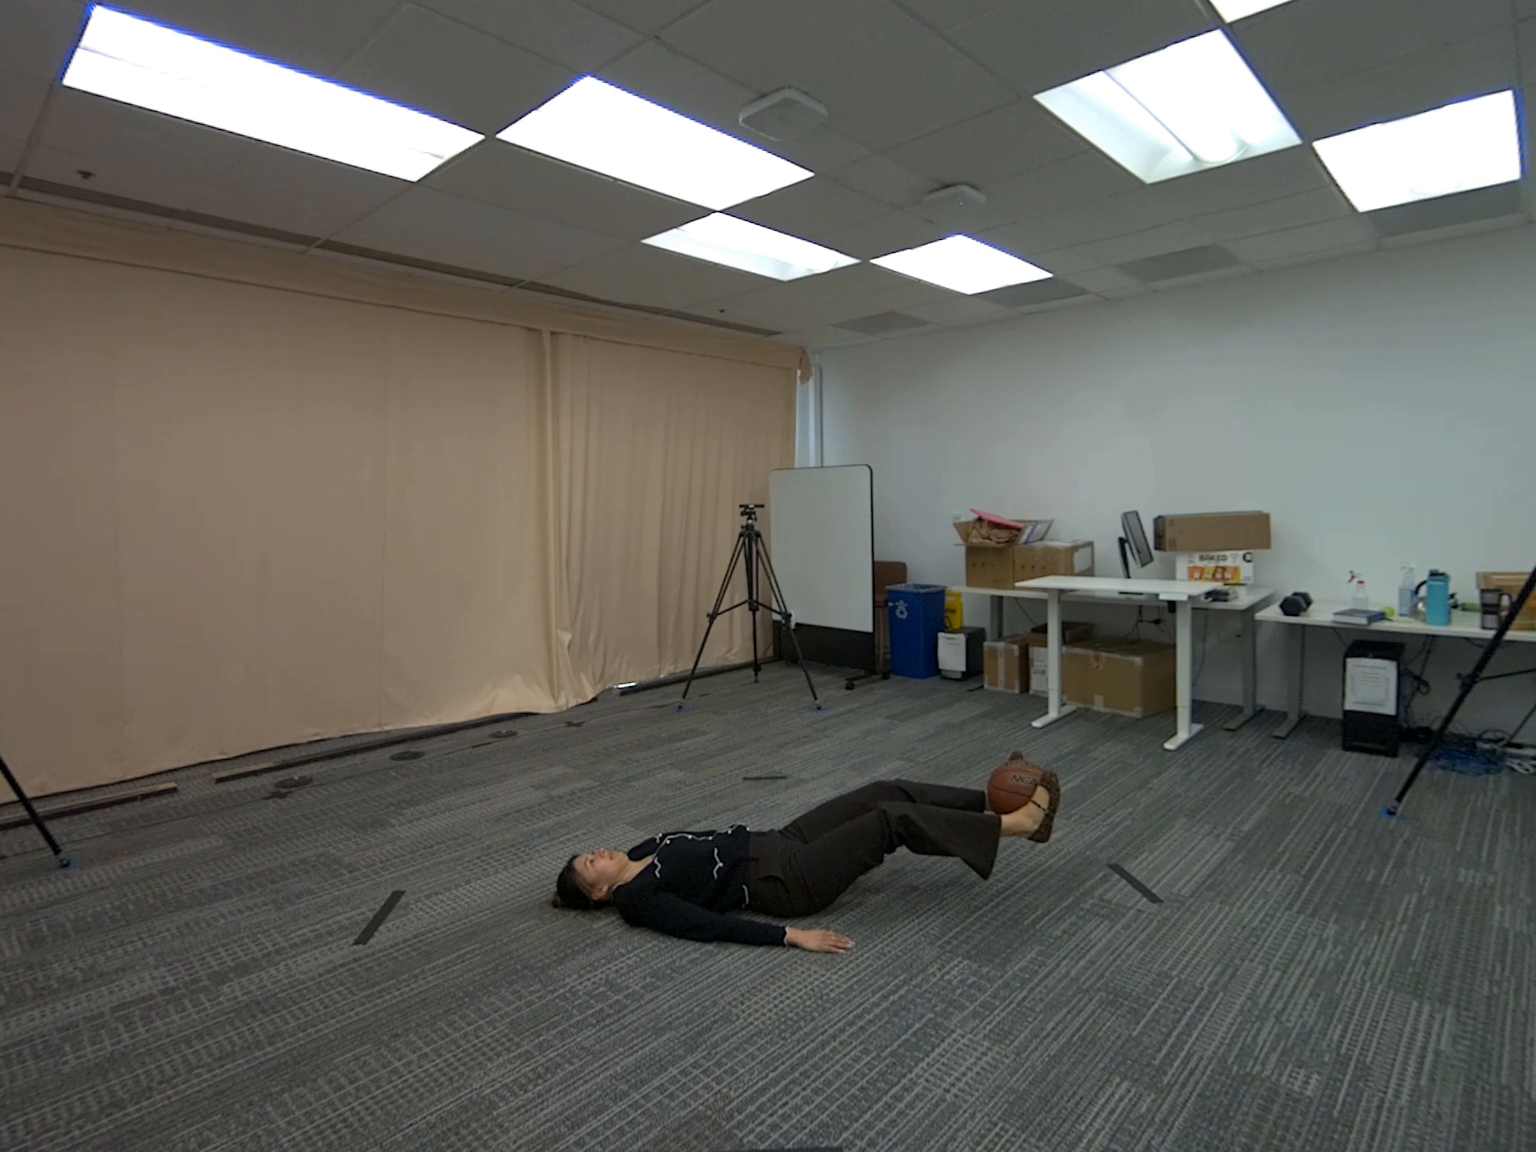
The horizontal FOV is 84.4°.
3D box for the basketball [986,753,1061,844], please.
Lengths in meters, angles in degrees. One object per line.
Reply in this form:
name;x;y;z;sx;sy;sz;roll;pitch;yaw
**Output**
basketball;0.917;0.777;3.015;0.236;0.236;0.236;0;1;-2
